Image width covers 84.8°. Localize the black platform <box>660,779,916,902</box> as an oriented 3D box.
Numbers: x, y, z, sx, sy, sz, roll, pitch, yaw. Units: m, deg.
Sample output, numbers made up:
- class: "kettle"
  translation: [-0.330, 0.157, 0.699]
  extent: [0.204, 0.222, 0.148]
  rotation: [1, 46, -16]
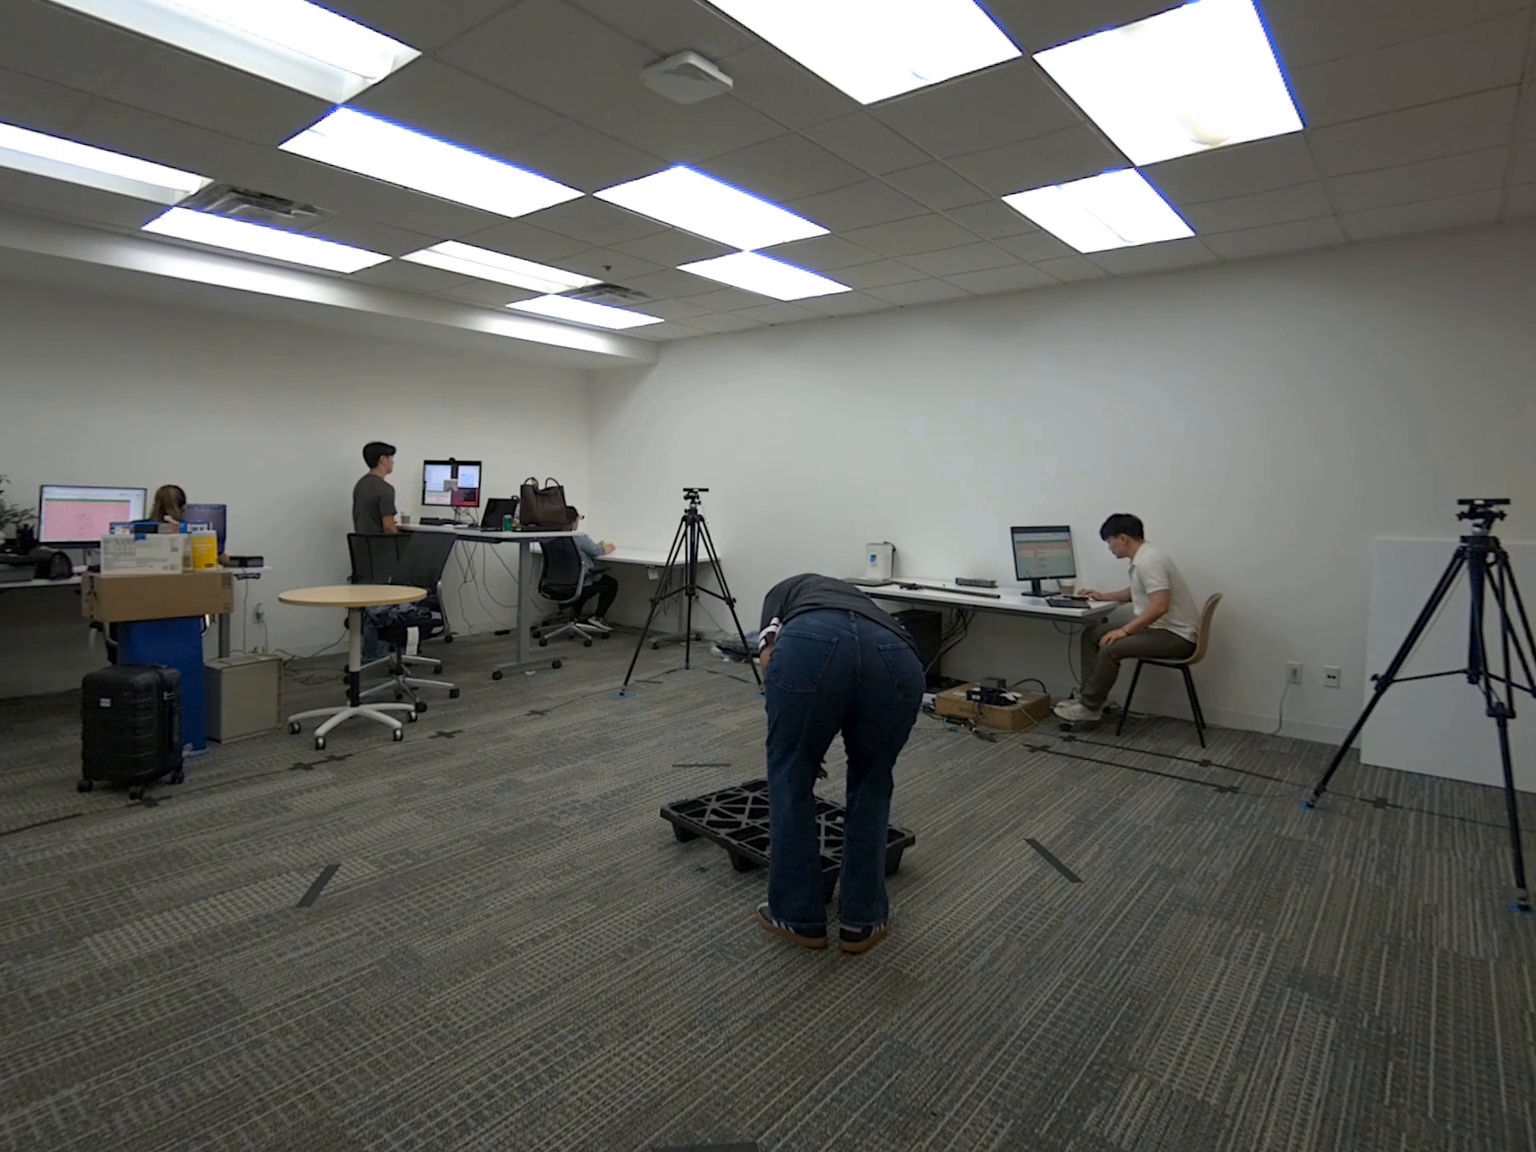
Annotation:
- class: "black platform"
  translation: [0.047, 0.996, 3.254]
  extent: [0.586, 0.143, 0.834]
  rotation: [-3, 7, -43]
